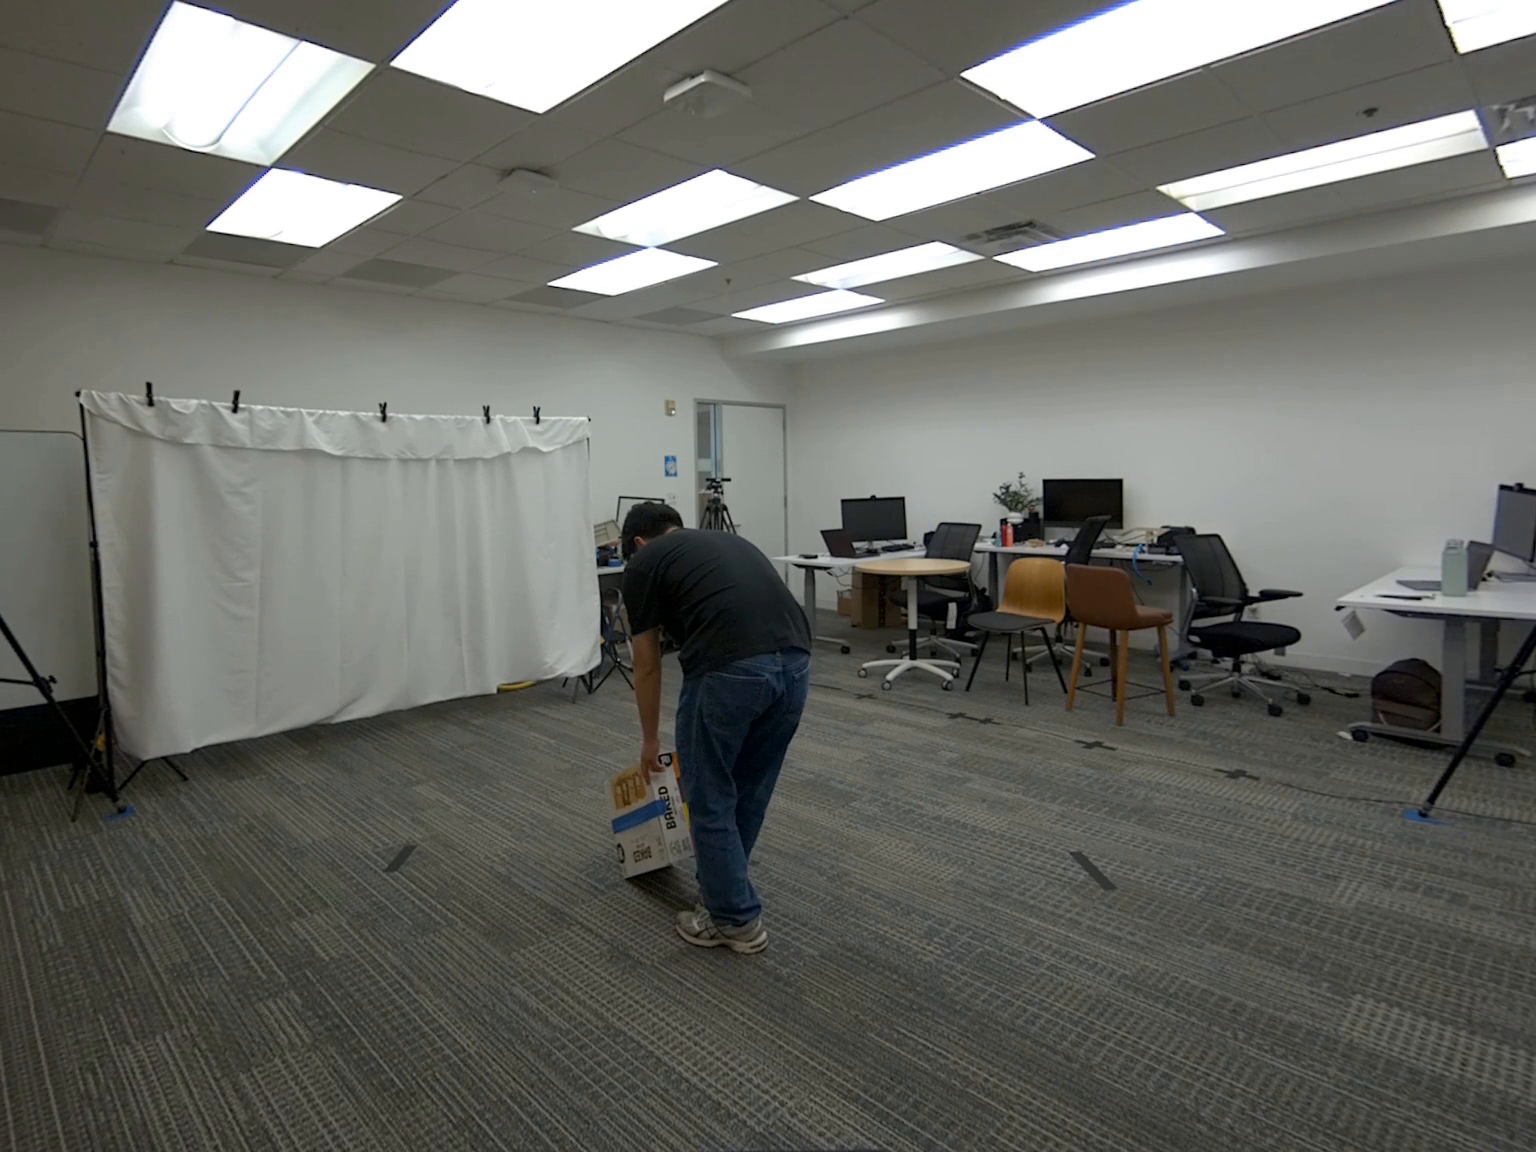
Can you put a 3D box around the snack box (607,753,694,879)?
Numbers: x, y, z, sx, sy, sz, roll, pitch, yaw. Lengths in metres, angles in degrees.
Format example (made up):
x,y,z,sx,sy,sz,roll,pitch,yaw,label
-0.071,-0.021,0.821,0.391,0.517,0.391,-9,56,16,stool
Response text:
x,y,z,sx,sy,sz,roll,pitch,yaw,label
-0.369,0.820,2.954,0.201,0.348,0.406,-4,-22,-33,snack box
